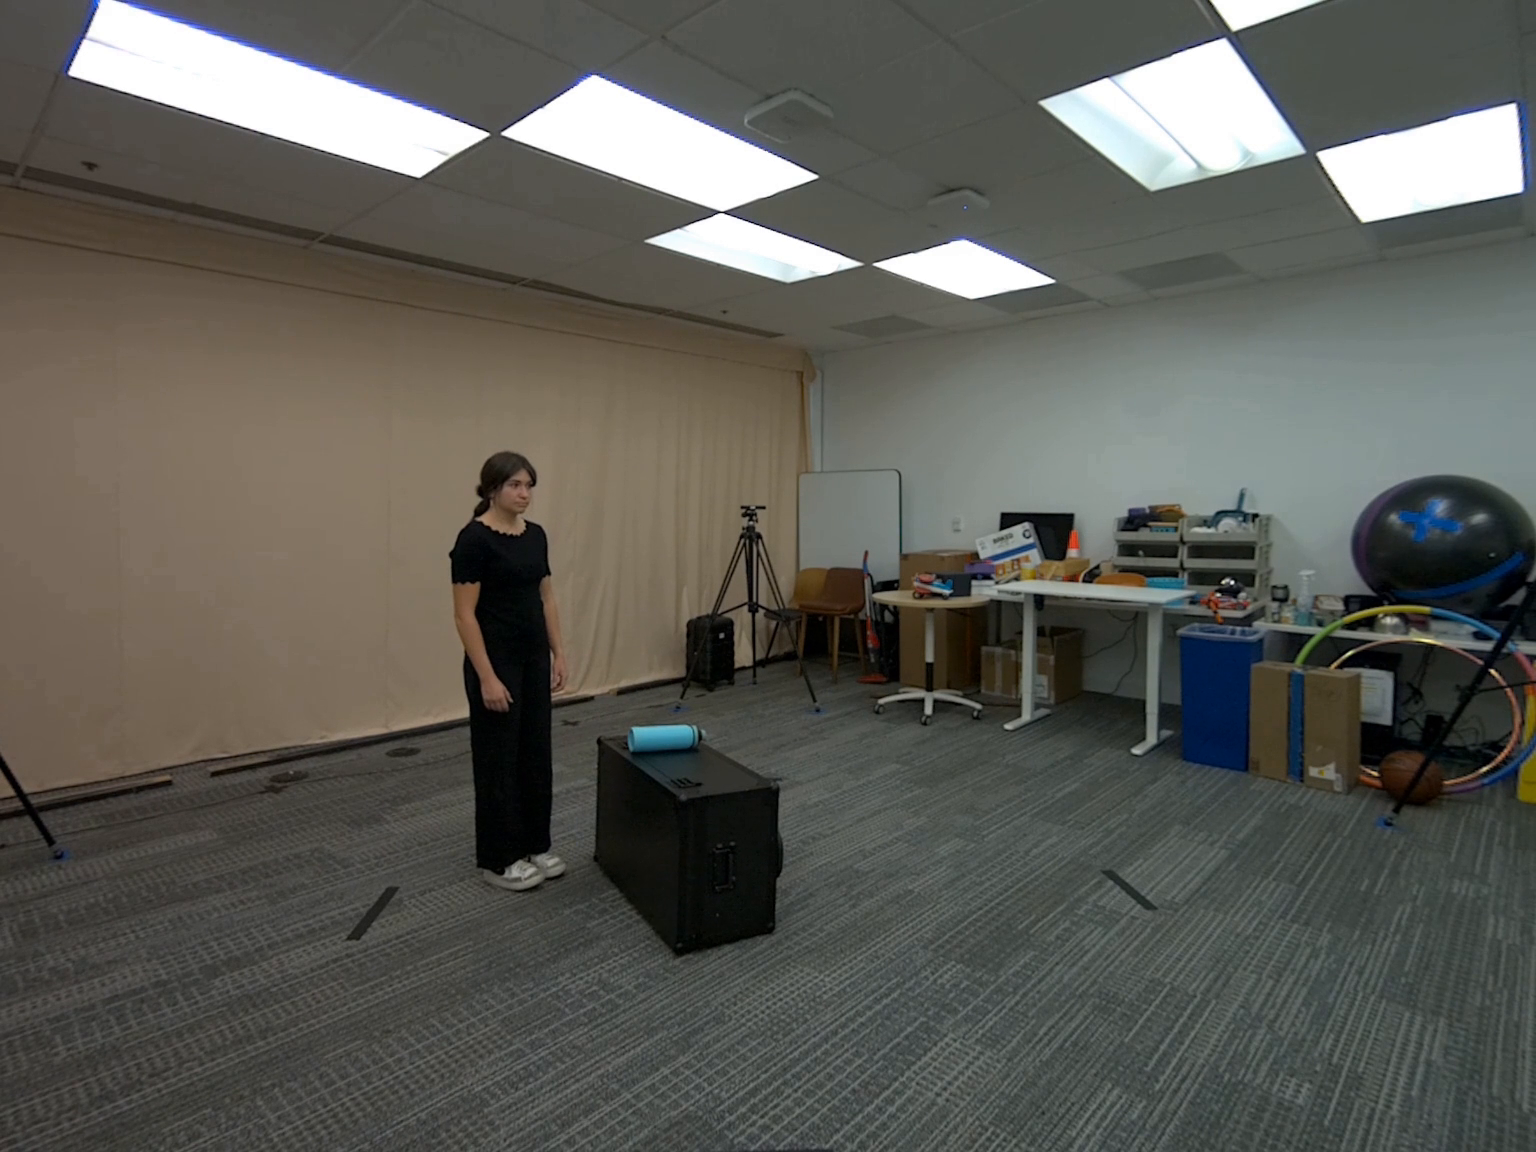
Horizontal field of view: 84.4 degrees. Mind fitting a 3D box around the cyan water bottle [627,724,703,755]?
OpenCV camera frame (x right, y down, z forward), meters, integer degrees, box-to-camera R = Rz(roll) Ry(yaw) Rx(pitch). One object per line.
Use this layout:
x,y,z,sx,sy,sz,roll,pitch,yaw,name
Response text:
-0.373,0.600,3.121,0.277,0.092,0.094,1,3,-21,cyan water bottle
